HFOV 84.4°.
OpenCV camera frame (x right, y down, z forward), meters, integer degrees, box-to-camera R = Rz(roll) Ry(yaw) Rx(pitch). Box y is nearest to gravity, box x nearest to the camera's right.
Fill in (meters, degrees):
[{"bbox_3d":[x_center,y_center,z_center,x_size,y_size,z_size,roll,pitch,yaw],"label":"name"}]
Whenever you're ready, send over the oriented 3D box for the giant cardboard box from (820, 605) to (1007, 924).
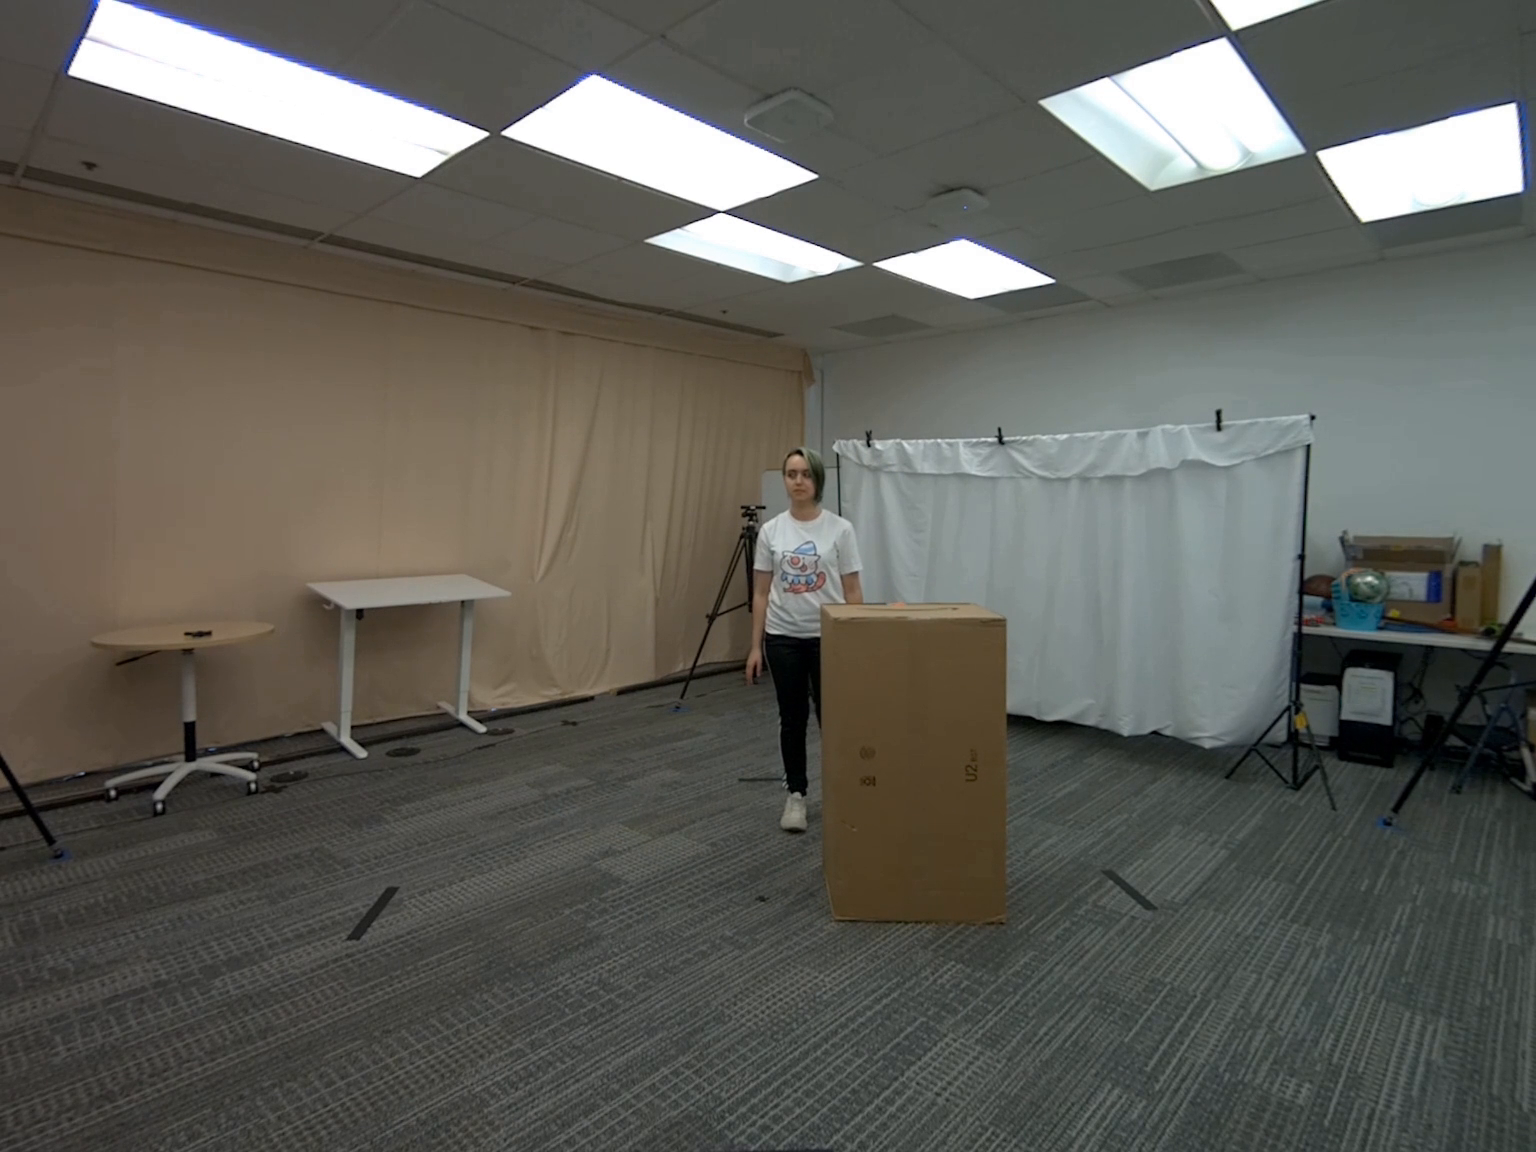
[{"bbox_3d":[0.507,0.635,2.998,0.579,1.023,0.426,0,3,1],"label":"giant cardboard box"}]
